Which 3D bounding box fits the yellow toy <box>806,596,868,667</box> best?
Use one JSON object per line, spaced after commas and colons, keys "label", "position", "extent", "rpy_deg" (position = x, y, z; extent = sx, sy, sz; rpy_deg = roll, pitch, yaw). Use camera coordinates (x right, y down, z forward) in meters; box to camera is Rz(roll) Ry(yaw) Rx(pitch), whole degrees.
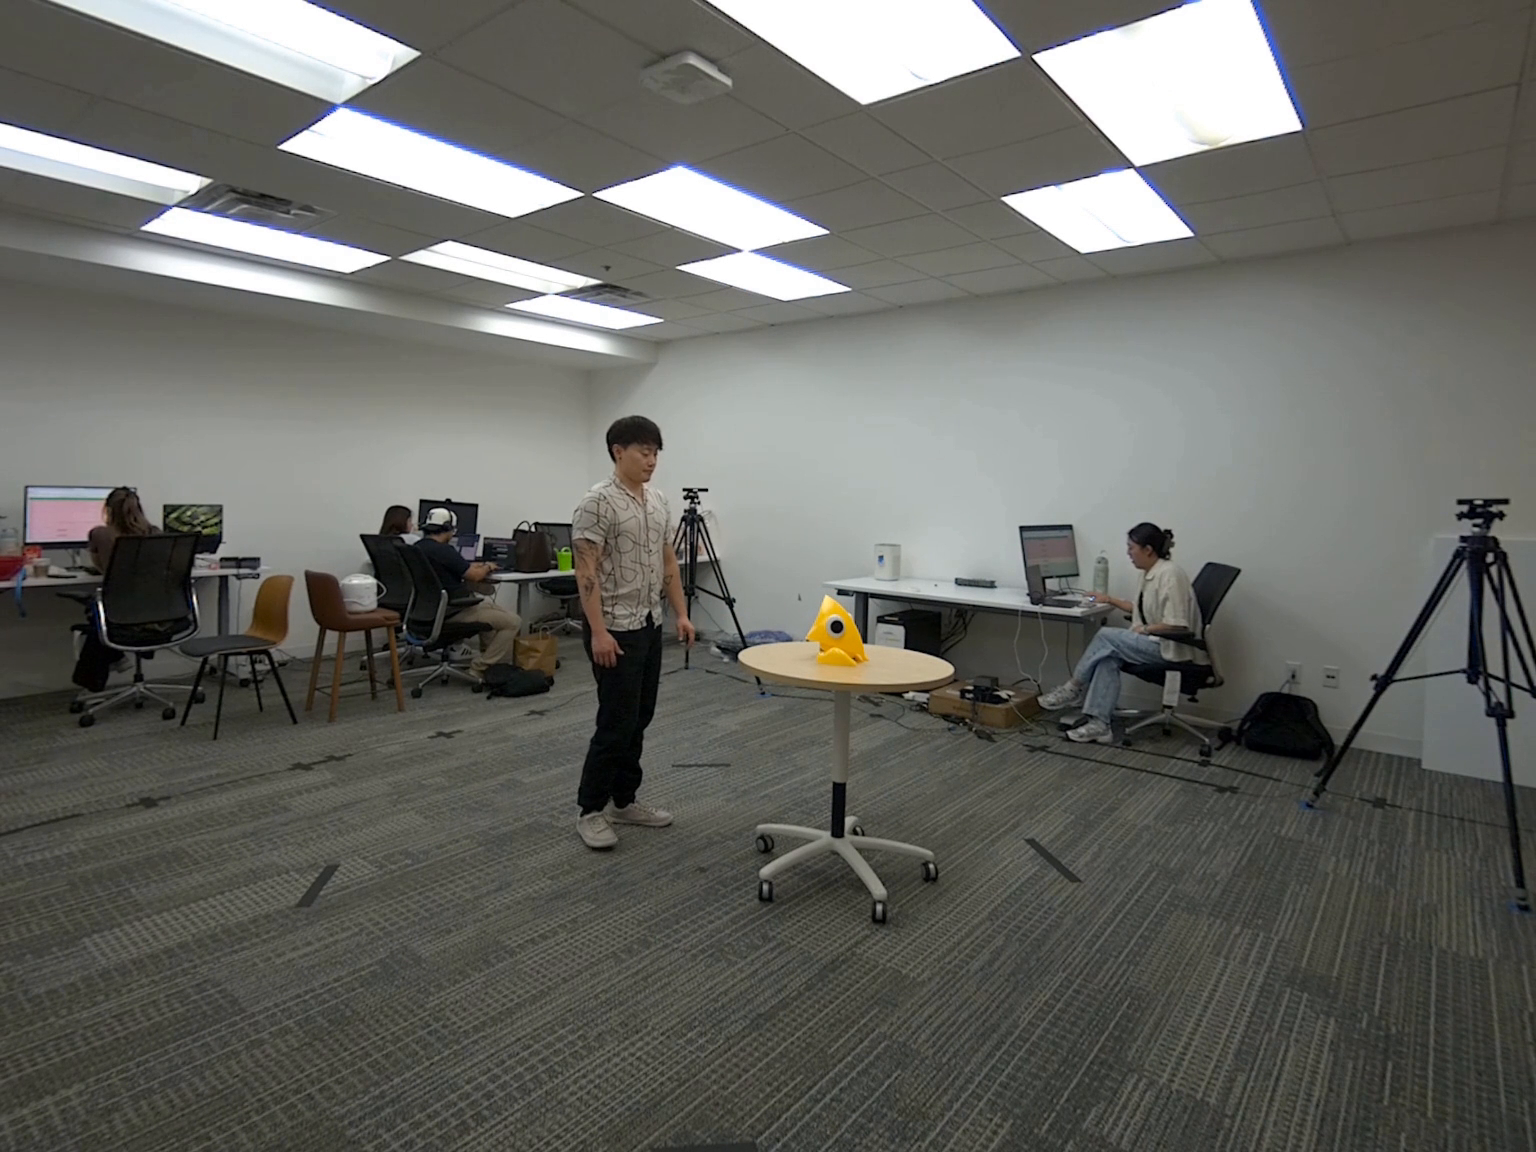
{"label": "yellow toy", "position": [0.253, 0.188, 3.062], "extent": [0.198, 0.230, 0.199], "rpy_deg": [4, 4, 27]}
